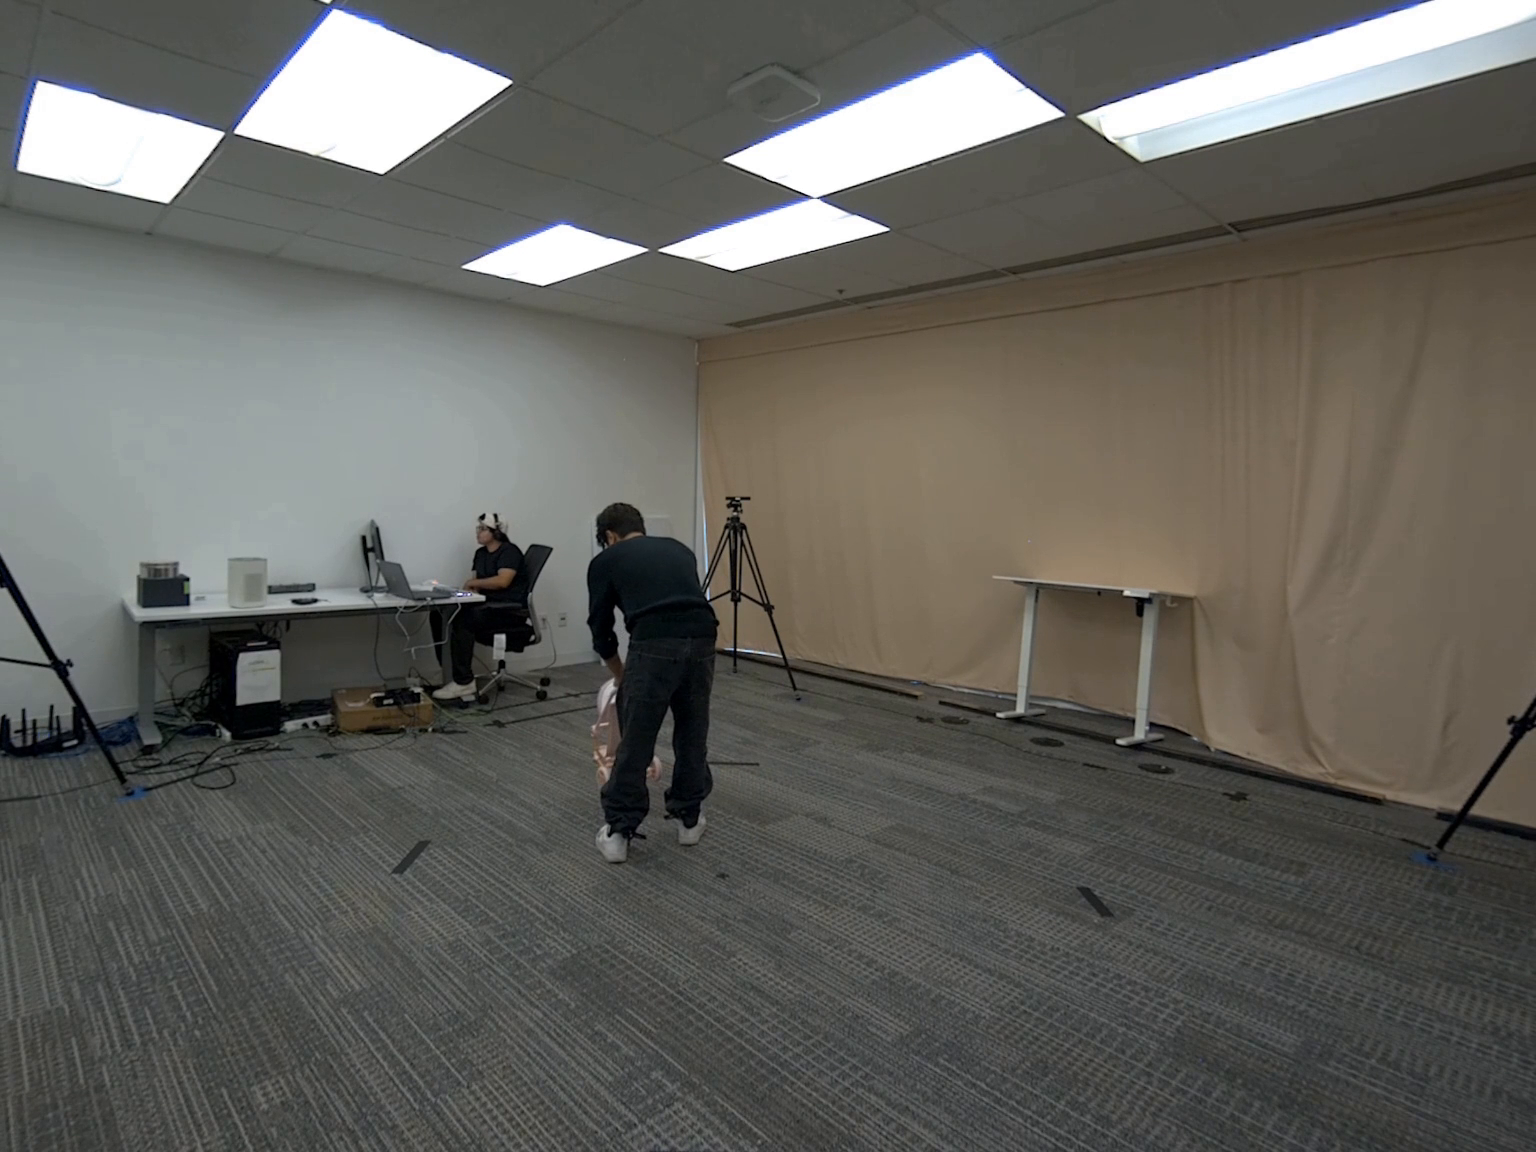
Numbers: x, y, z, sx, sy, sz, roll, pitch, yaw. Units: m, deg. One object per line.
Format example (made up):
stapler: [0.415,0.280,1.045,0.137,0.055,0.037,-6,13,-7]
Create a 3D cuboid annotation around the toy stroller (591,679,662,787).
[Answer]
toy stroller: [-0.668,0.704,3.776,0.276,0.532,0.350,-3,9,-29]
